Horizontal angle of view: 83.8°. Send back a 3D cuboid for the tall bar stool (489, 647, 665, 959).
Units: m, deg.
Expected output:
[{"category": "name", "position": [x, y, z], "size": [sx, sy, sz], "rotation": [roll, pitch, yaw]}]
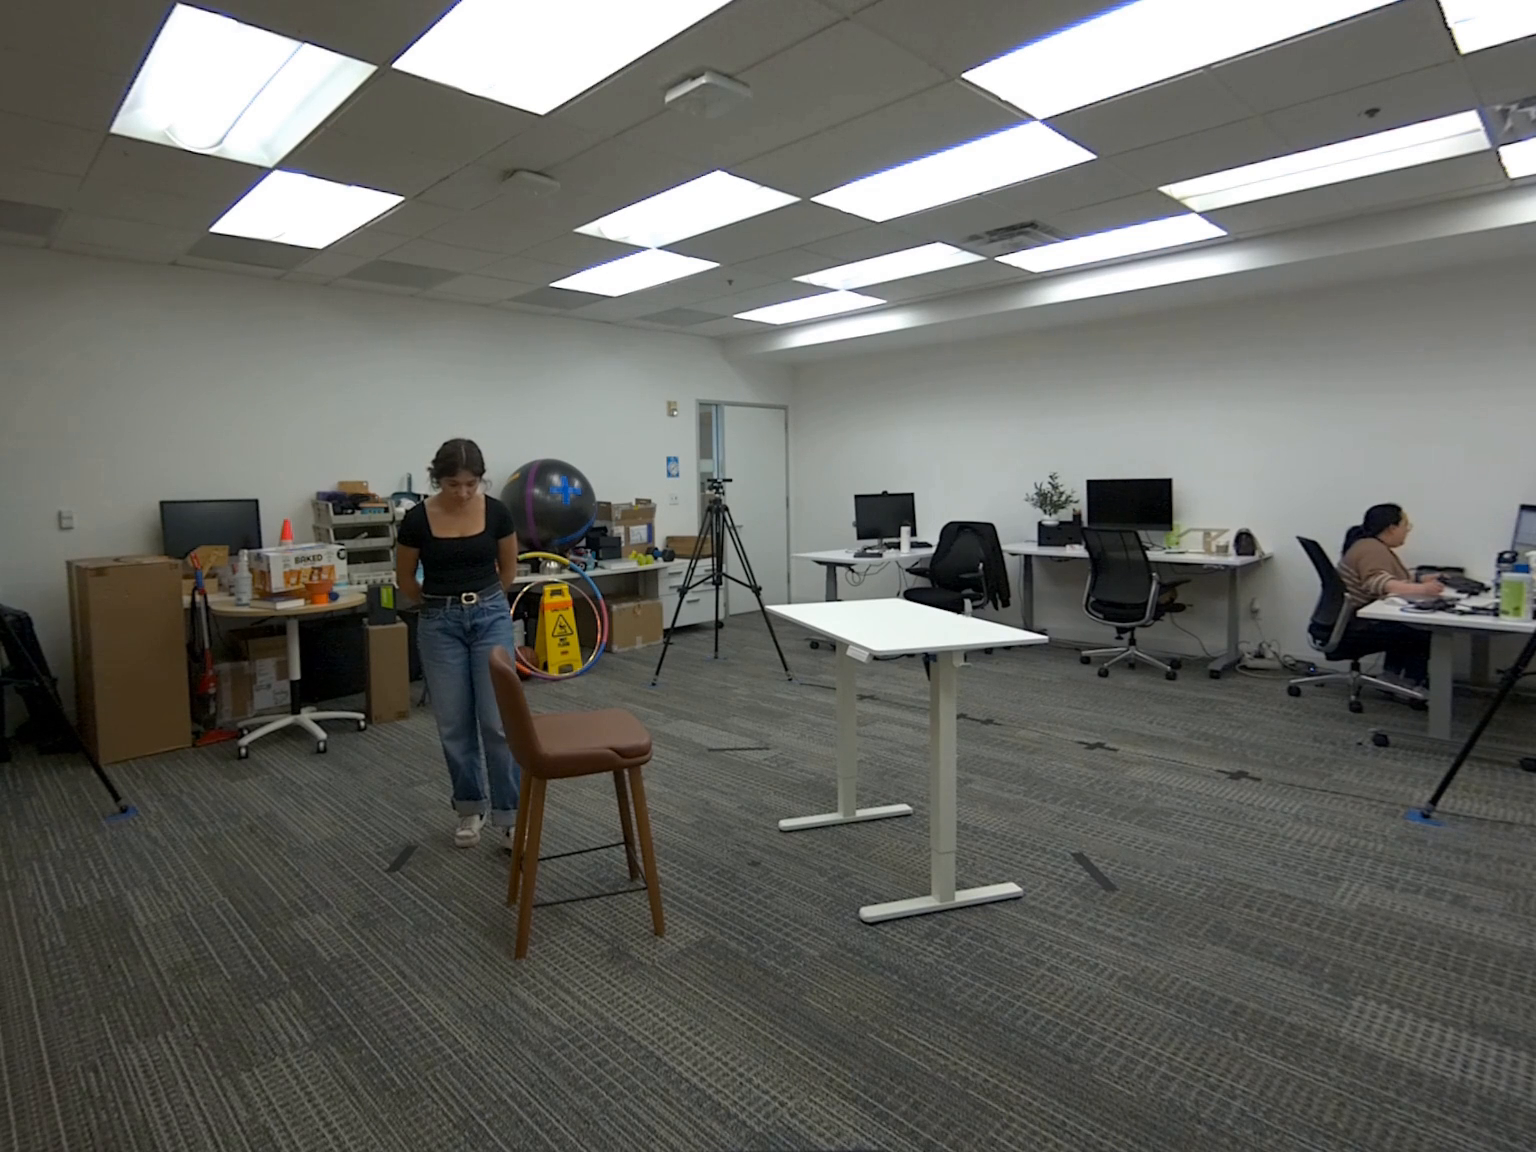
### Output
[{"category": "tall bar stool", "position": [-0.603, 0.666, 2.722], "size": [0.460, 0.886, 0.466], "rotation": [-4, 5, -19]}]
